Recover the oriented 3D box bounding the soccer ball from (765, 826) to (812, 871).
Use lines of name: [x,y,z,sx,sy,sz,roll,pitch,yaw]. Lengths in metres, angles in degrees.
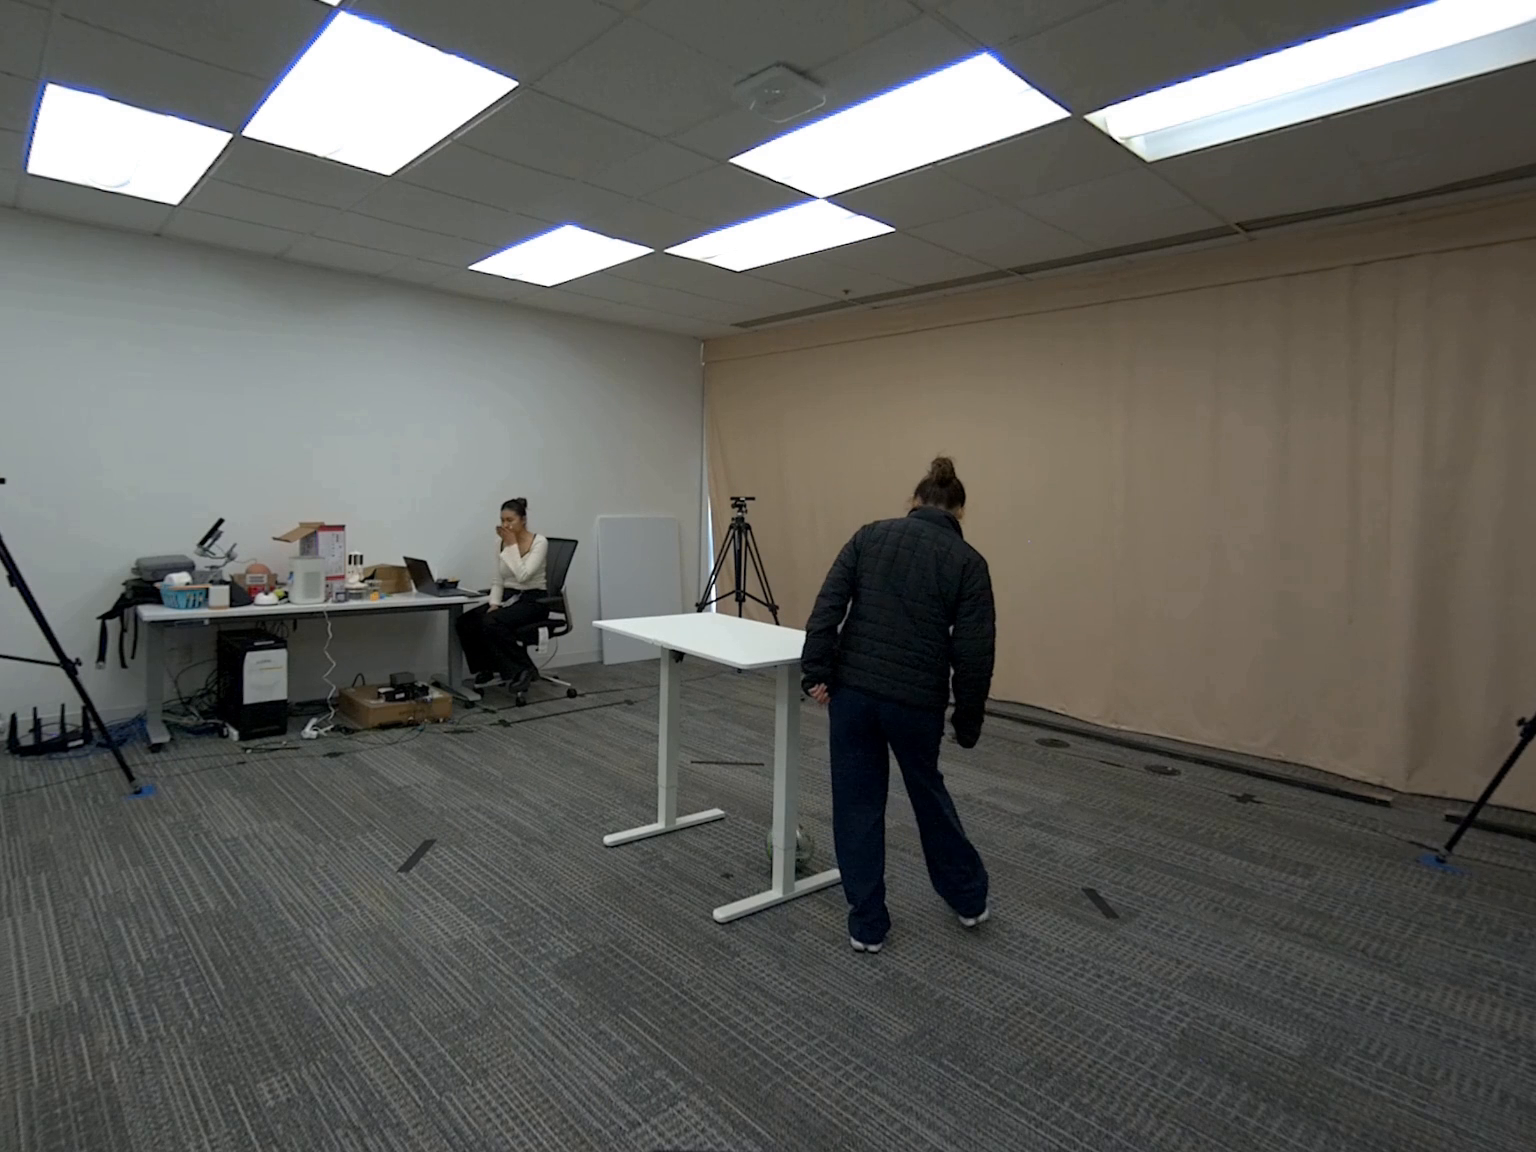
soccer ball: [0.076,1.016,3.168,0.187,0.187,0.188,1,4,-1]
